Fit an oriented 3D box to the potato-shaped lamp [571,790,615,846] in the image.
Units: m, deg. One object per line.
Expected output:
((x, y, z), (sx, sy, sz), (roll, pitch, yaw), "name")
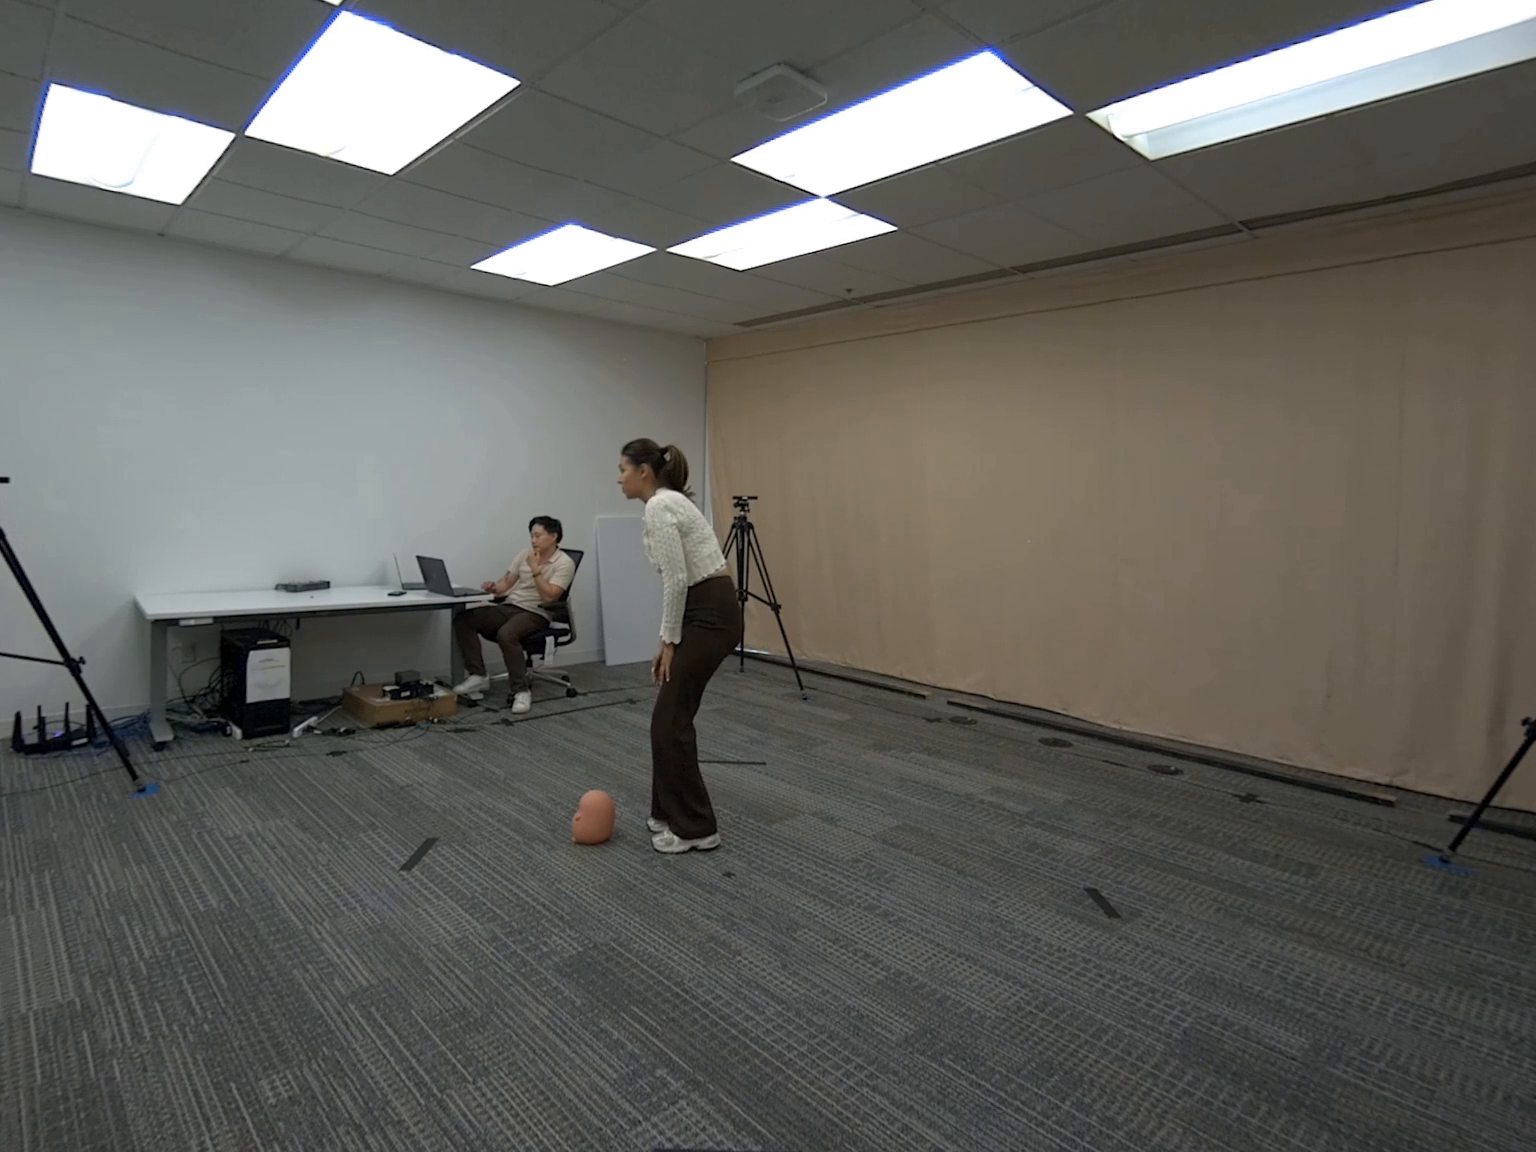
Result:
((-0.705, 0.958, 3.391), (0.172, 0.198, 0.164), (2, 2, 6), "potato-shaped lamp")
